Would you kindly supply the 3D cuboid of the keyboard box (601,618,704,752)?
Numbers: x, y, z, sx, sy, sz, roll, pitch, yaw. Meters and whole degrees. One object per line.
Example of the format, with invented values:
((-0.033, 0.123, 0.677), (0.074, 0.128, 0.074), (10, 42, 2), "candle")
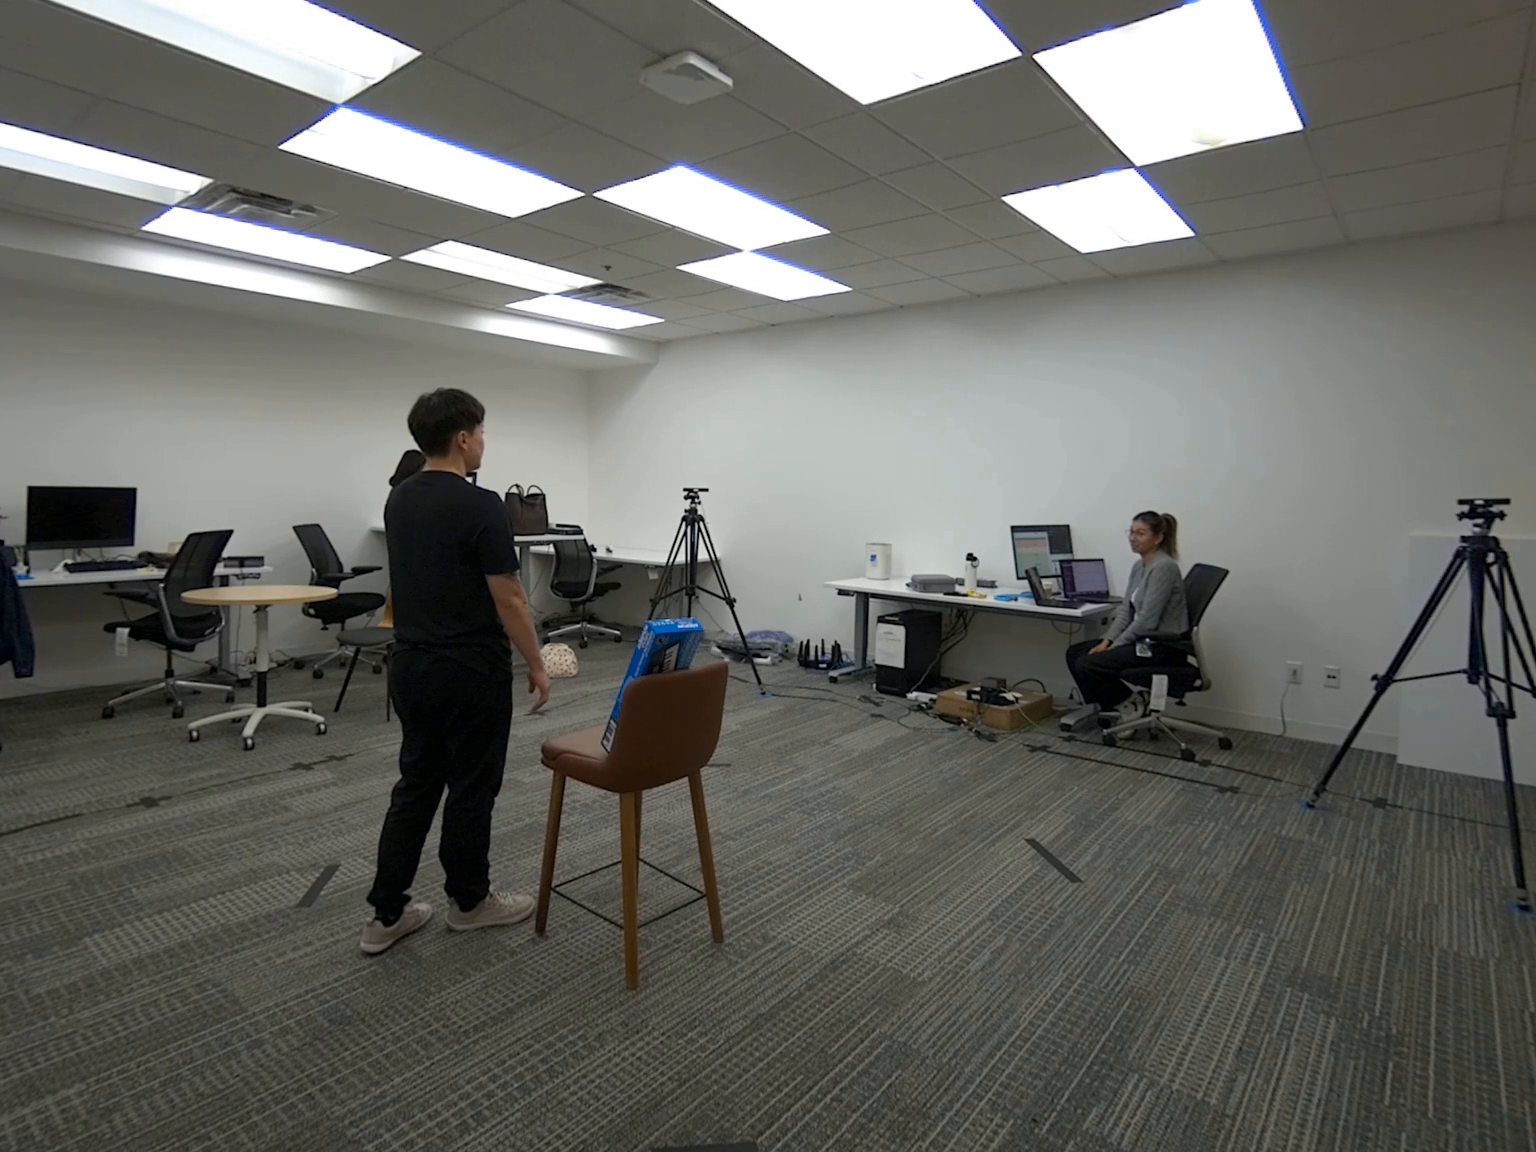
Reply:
((-0.342, 0.323, 2.426), (0.170, 0.432, 0.062), (2, 30, -39), "keyboard box")
